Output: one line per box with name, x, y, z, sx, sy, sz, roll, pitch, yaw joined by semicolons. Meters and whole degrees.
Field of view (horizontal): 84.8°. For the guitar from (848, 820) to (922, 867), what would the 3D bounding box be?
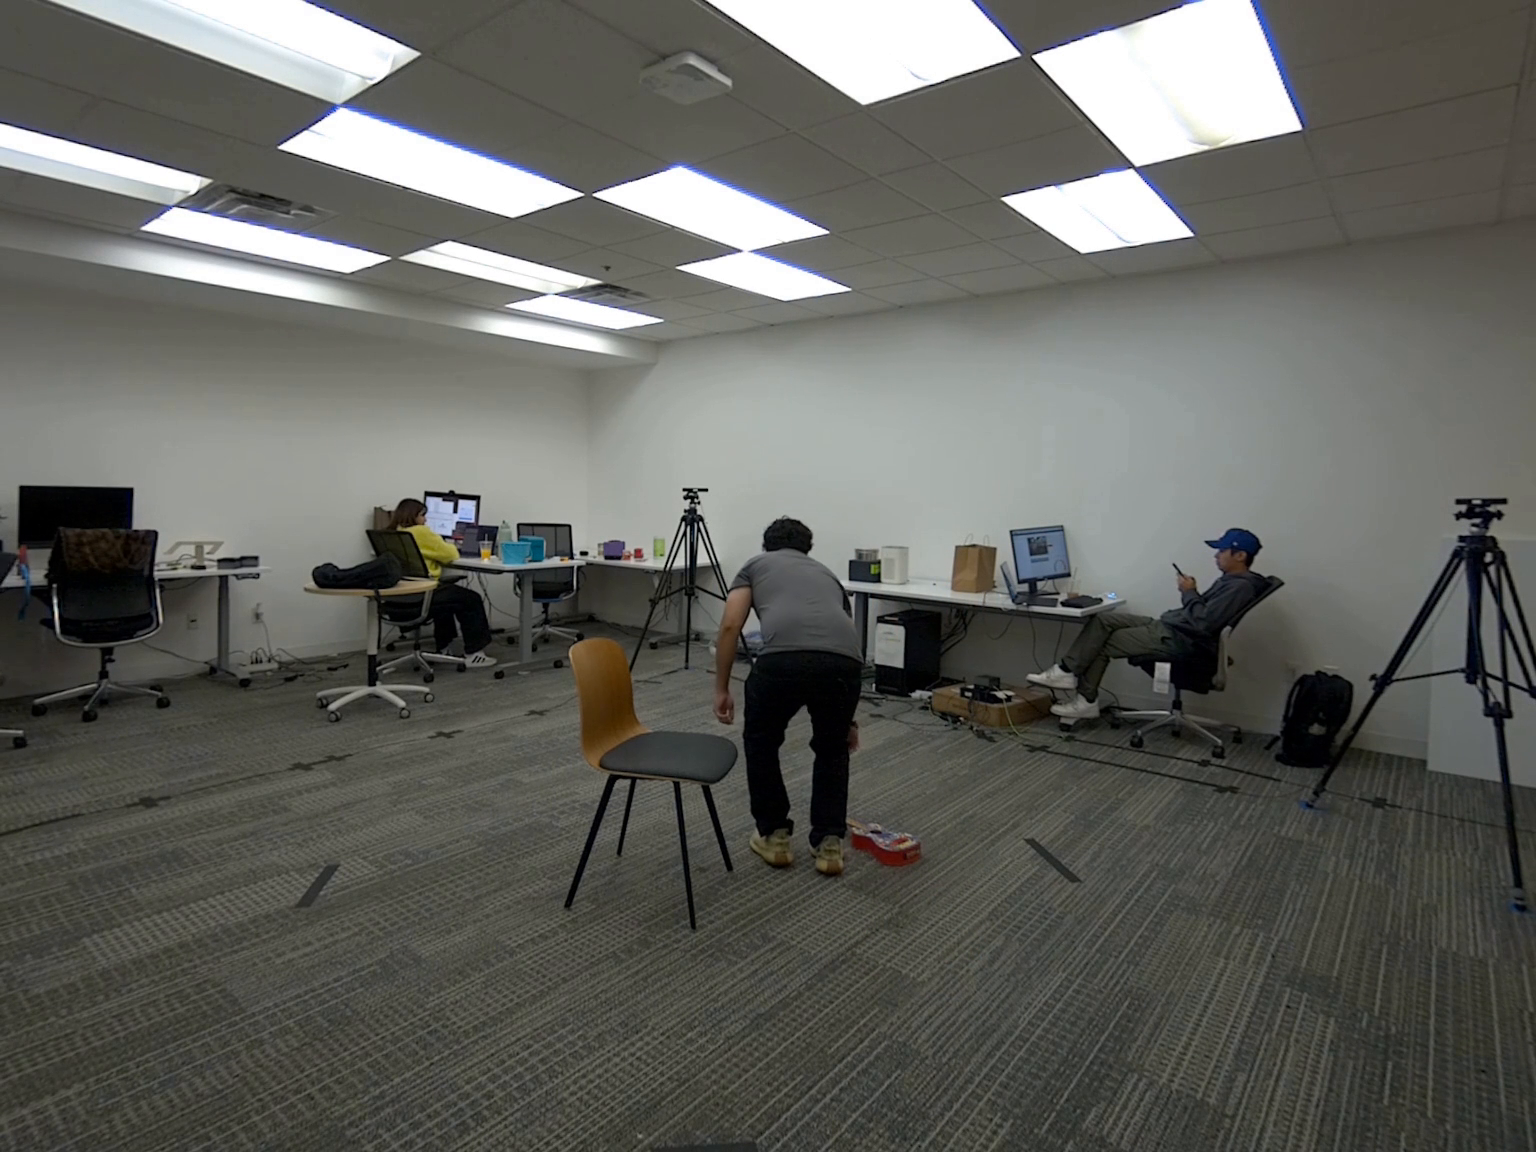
guitar;0.386;1.022;3.410;0.188;0.070;0.514;-3;7;-32
